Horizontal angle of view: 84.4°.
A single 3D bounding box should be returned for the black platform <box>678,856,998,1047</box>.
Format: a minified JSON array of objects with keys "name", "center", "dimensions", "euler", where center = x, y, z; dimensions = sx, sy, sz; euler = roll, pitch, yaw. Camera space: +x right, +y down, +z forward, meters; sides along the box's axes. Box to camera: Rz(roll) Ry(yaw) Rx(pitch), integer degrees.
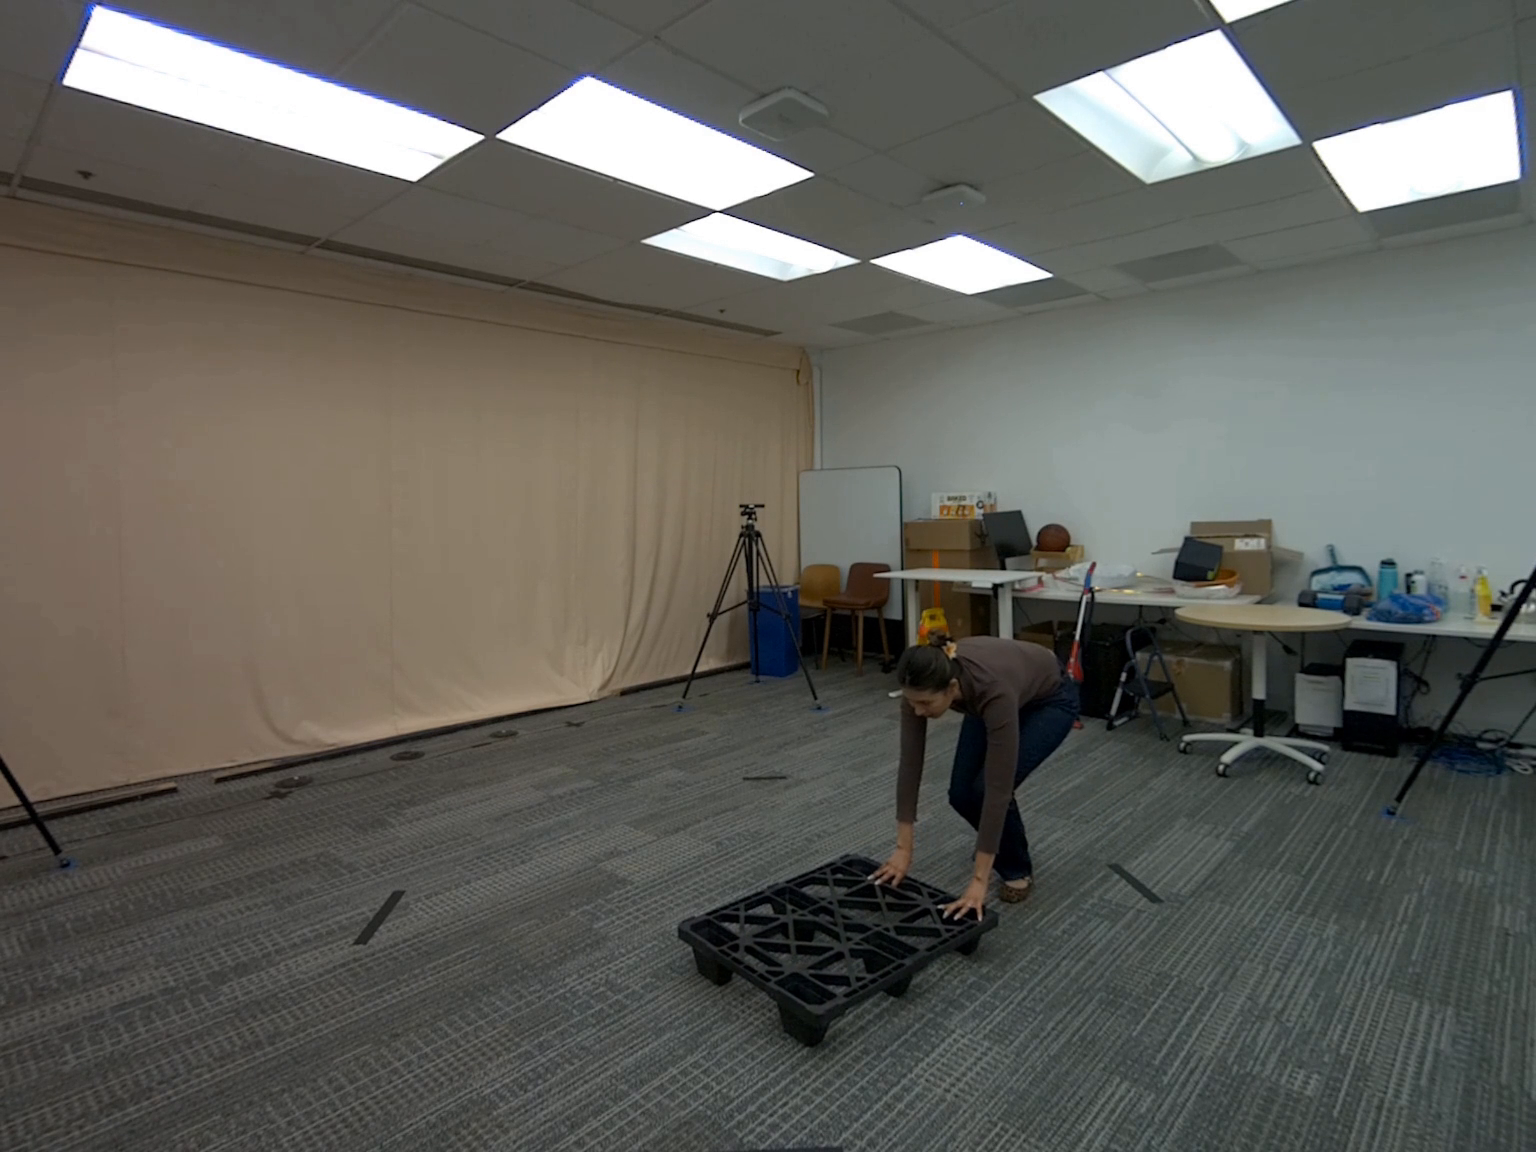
[{"name":"black platform","center":[0.227,1.105,2.556],"dimensions":[0.781,0.143,0.625],"euler":[-6,7,-41]}]
